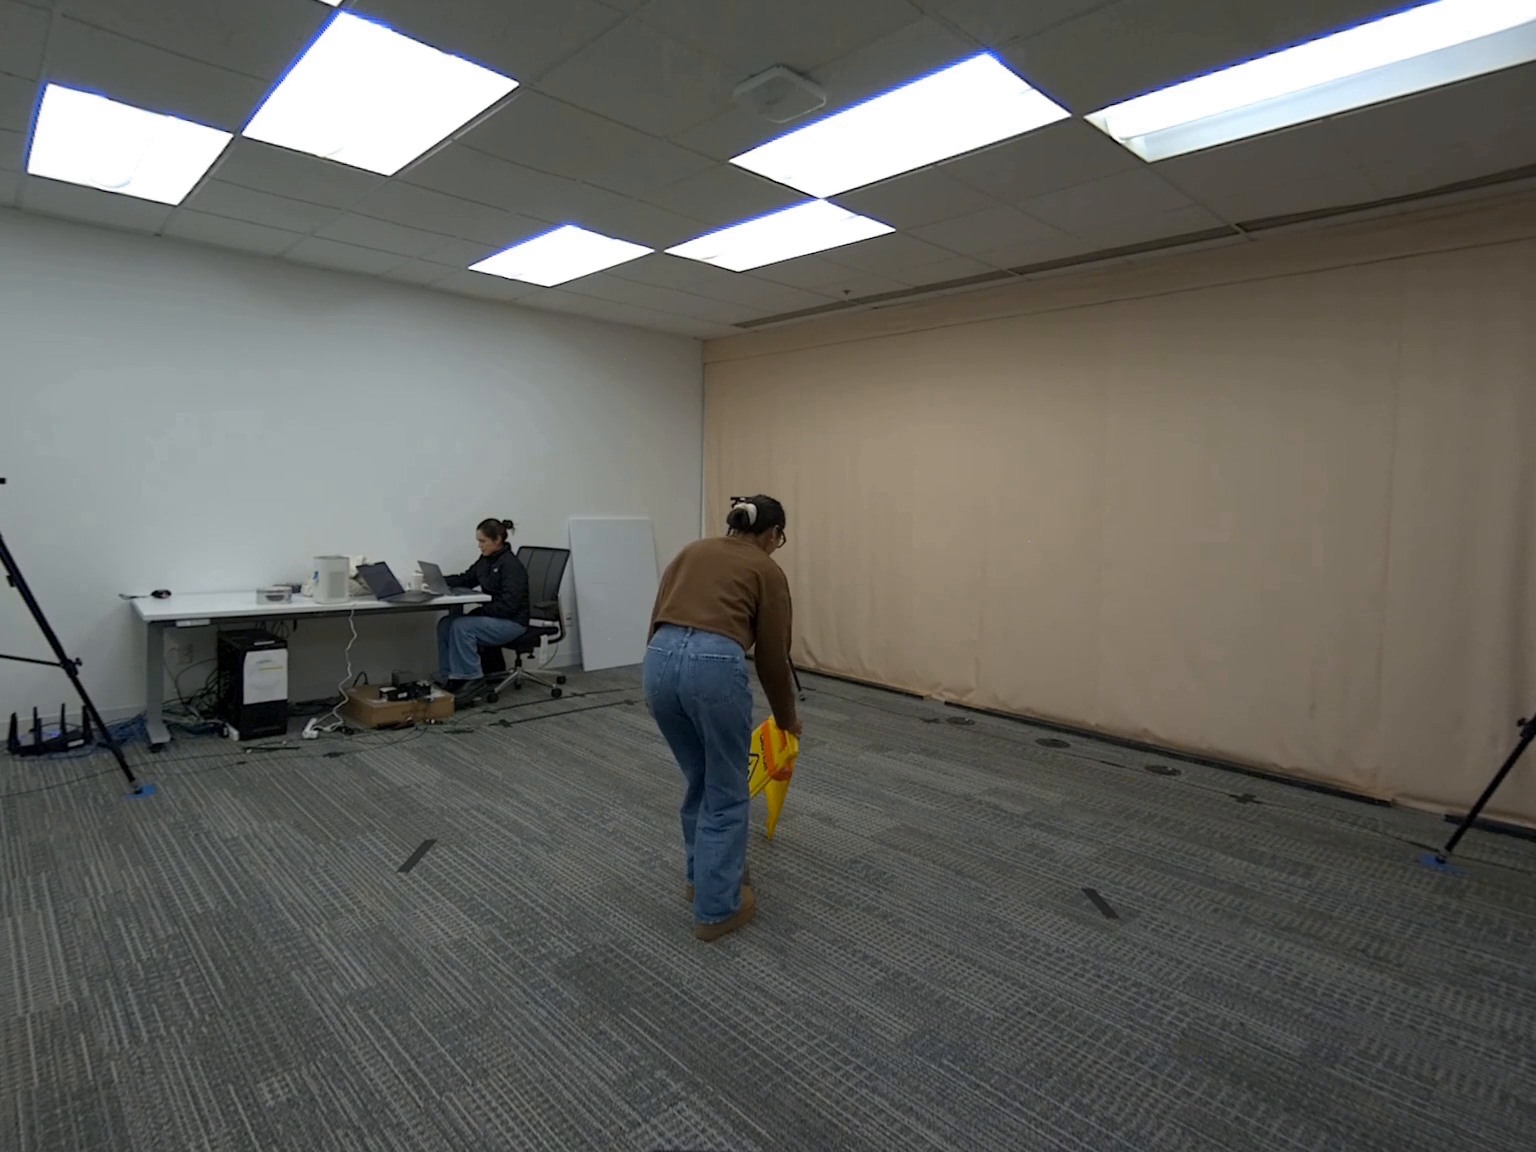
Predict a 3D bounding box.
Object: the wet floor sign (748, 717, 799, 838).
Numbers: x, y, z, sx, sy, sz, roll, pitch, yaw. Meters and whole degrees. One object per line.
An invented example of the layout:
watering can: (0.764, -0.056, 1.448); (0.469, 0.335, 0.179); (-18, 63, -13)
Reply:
wet floor sign: (-0.025, 0.756, 3.289); (0.285, 0.289, 0.640); (9, -43, -20)
